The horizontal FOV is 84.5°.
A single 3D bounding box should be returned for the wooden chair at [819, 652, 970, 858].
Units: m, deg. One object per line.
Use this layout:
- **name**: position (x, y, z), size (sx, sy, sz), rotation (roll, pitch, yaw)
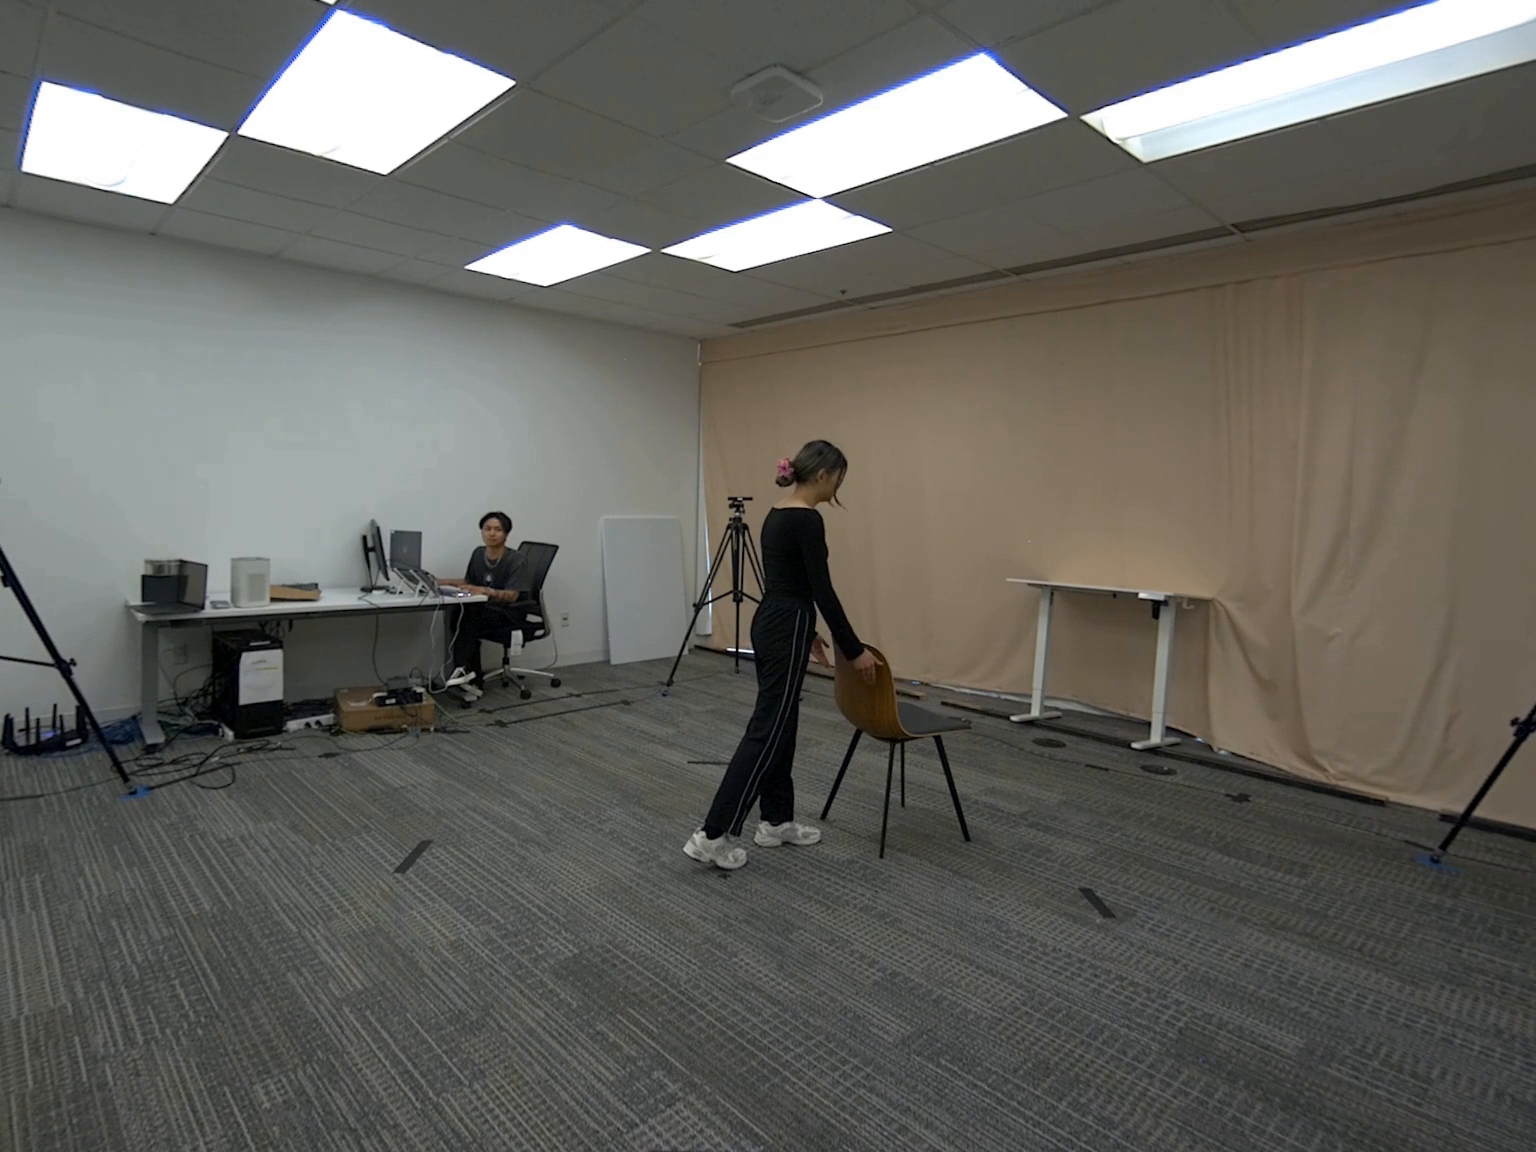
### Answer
- **wooden chair**: position (0.545, 0.656, 3.565), size (0.514, 0.874, 0.488), rotation (-4, 5, -27)
